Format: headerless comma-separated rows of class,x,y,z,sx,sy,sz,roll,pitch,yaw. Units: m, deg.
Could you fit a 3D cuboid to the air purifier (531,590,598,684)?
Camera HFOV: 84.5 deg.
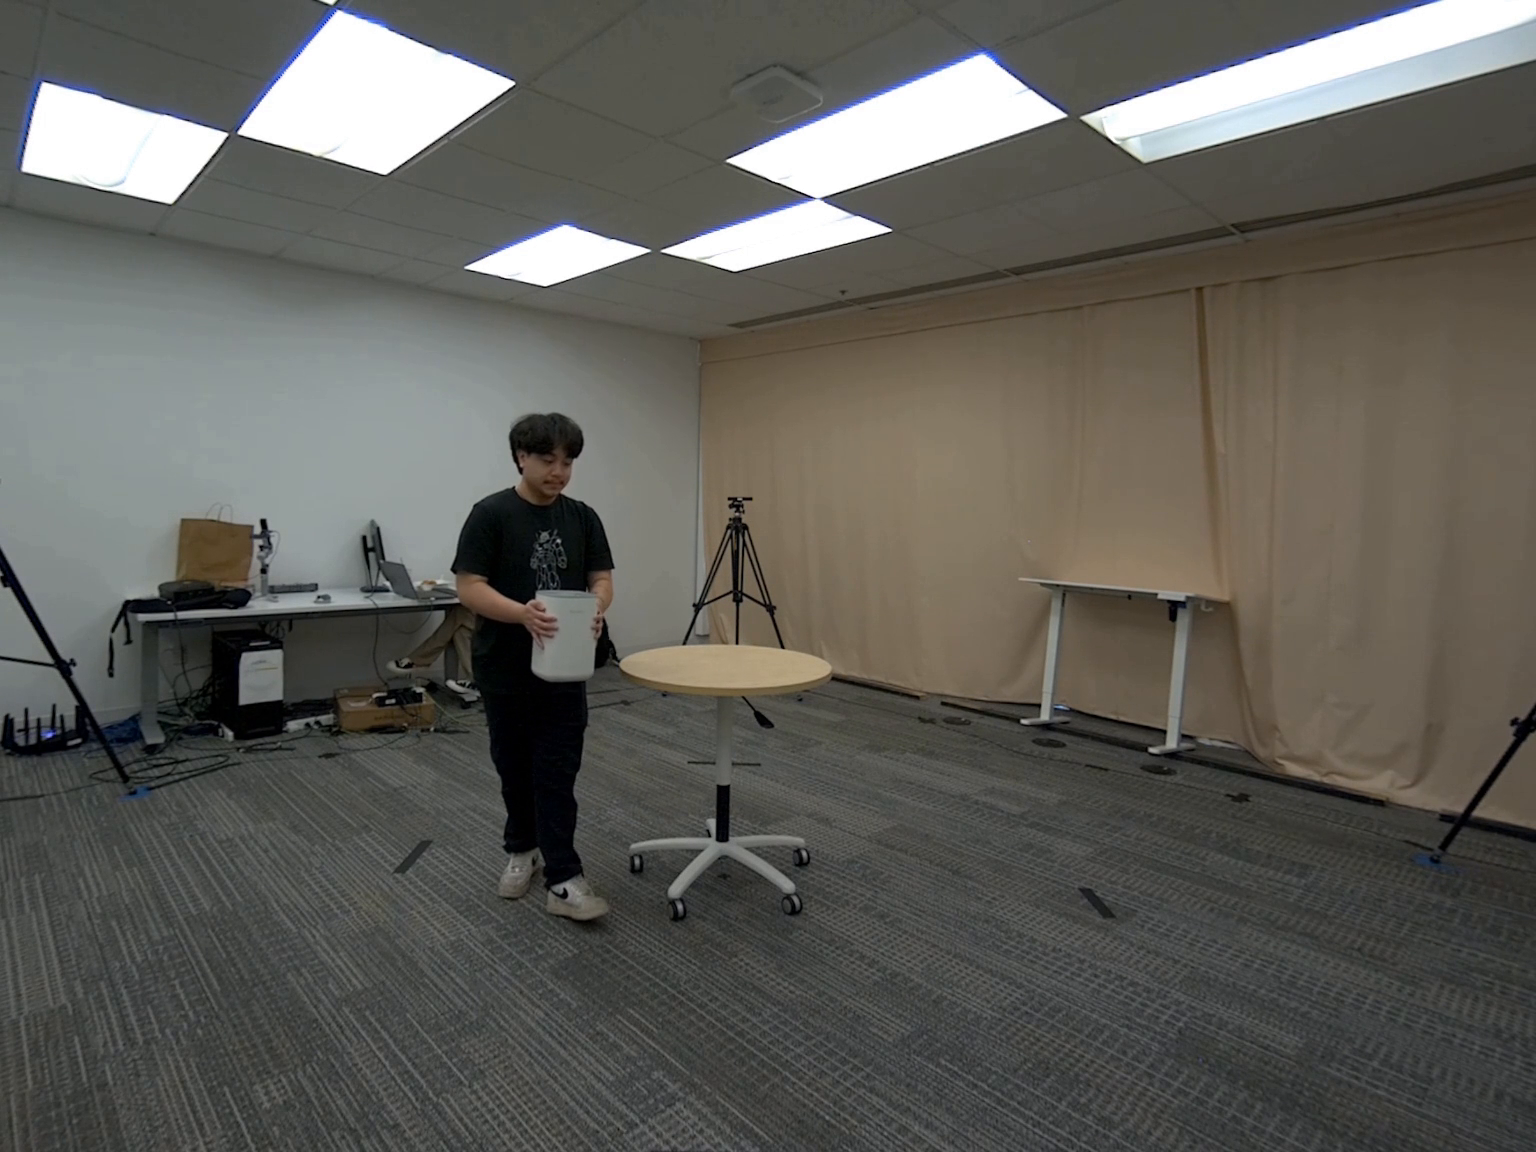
air purifier,-0.651,0.185,2.603,0.167,0.265,0.176,2,2,-35
